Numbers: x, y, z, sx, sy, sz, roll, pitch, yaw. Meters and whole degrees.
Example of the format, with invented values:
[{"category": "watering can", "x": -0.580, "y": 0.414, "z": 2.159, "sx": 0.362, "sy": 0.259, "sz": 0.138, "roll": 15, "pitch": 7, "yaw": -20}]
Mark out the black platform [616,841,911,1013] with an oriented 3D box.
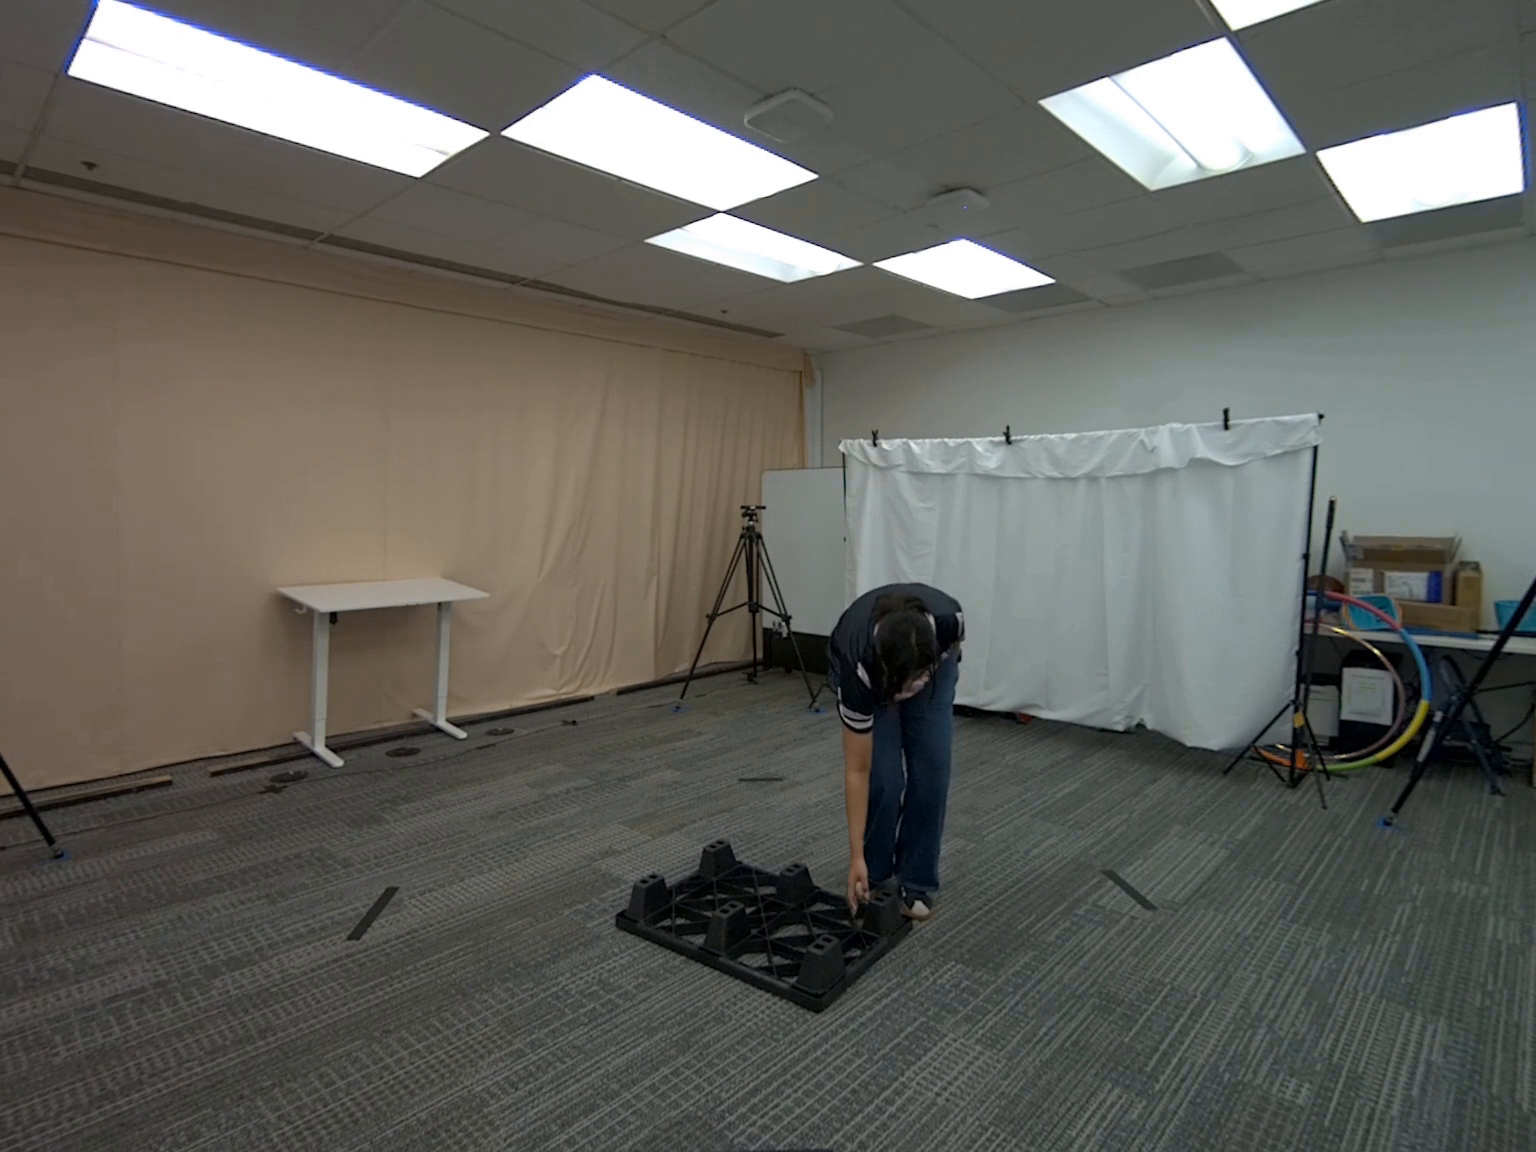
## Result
[{"category": "black platform", "x": -0.018, "y": 1.097, "z": 2.773, "sx": 0.831, "sy": 0.143, "sz": 0.587, "roll": 3, "pitch": 5, "yaw": 37}]
